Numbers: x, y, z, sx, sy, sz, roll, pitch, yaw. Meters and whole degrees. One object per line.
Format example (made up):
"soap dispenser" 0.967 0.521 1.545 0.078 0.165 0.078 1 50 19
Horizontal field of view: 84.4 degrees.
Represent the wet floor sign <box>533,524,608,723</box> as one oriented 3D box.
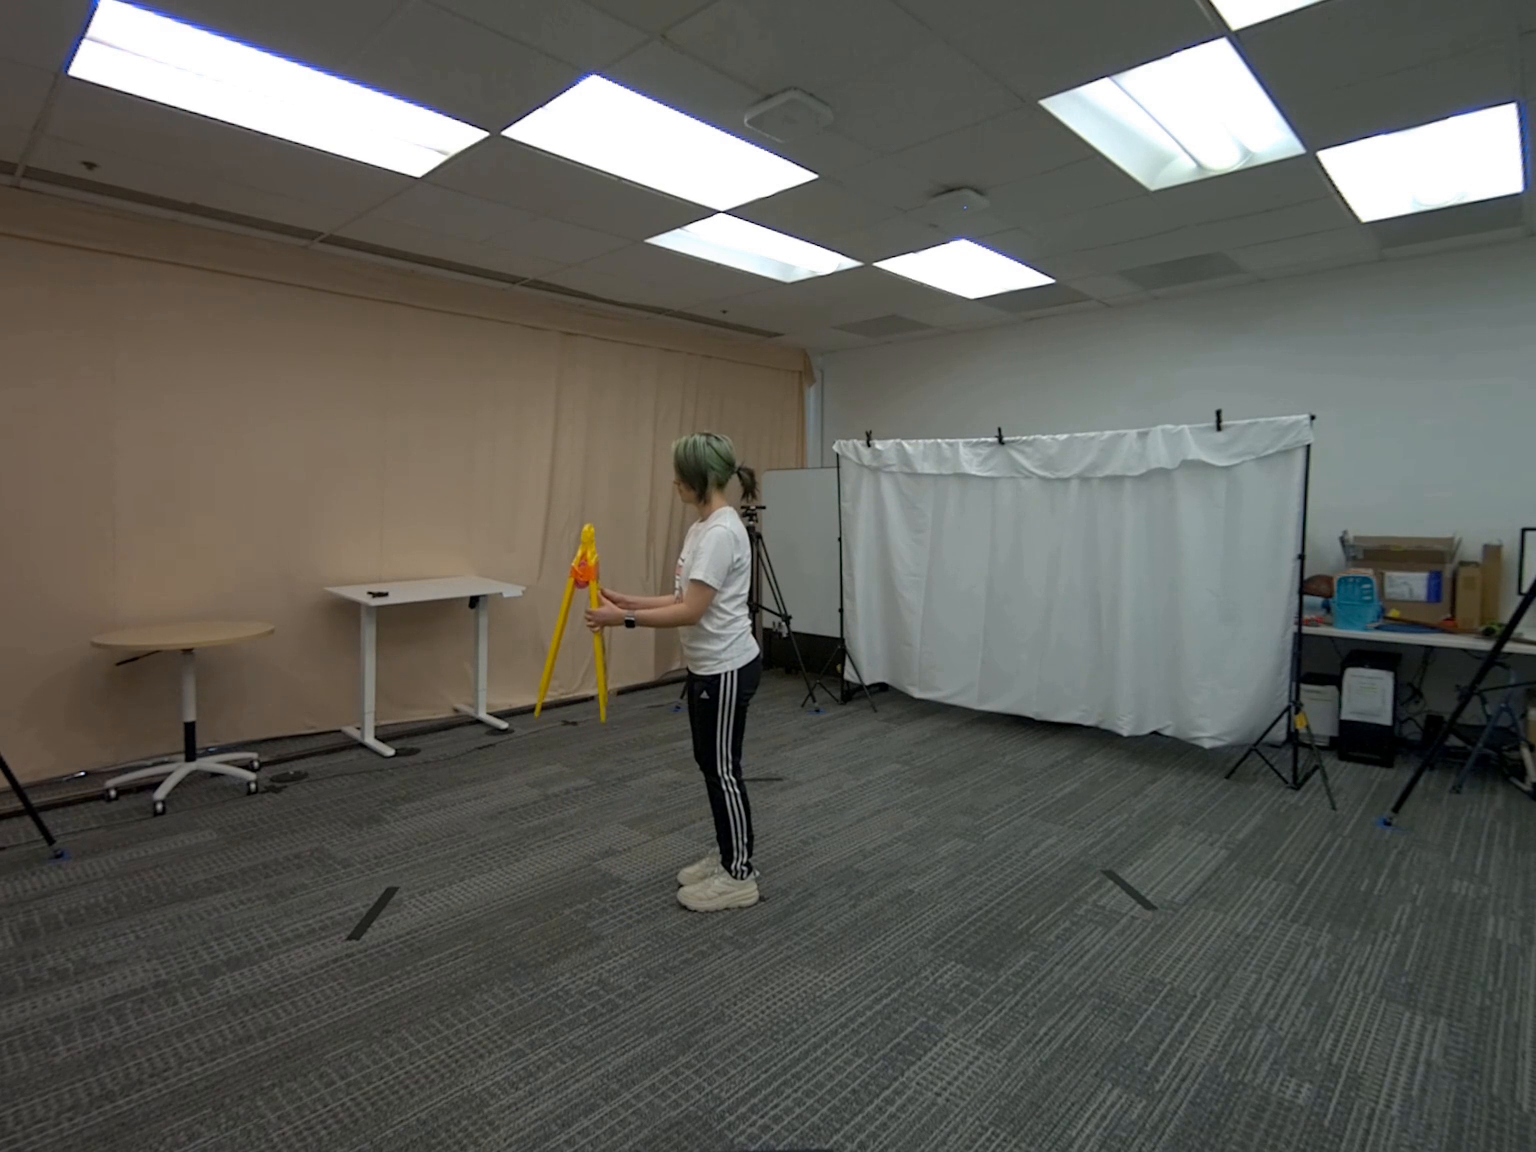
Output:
"wet floor sign" -0.657 0.154 2.937 0.288 0.644 0.285 4 6 -7
